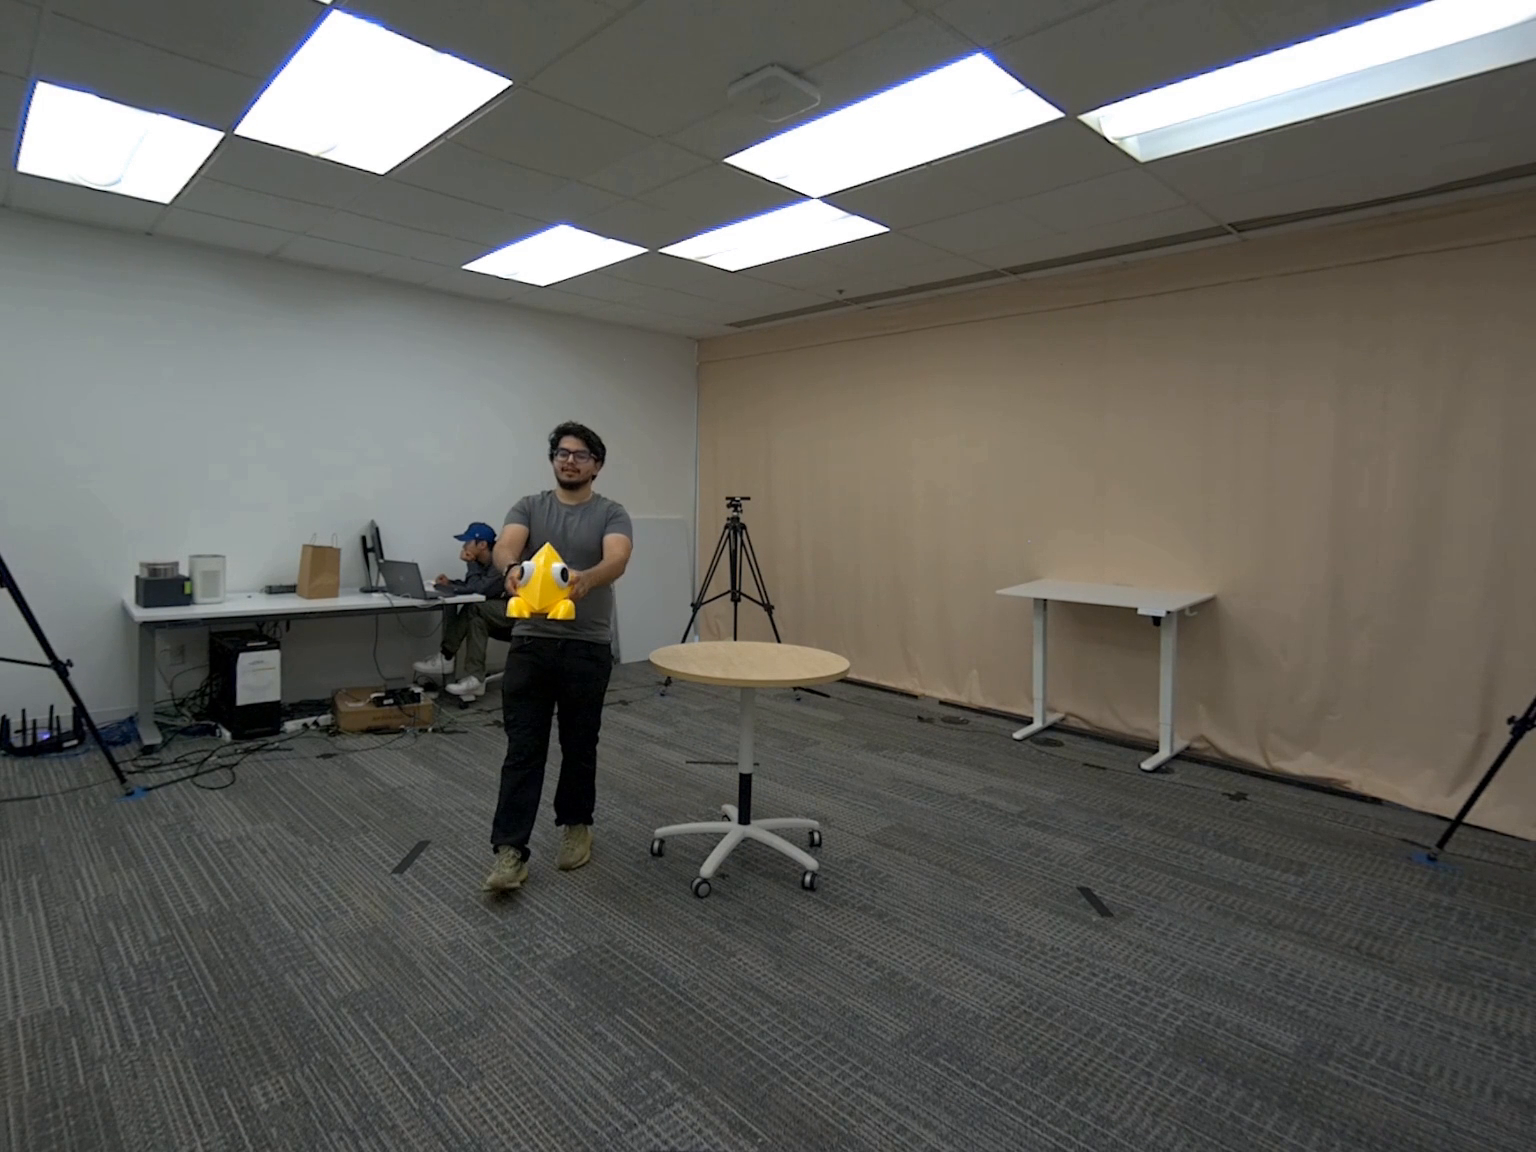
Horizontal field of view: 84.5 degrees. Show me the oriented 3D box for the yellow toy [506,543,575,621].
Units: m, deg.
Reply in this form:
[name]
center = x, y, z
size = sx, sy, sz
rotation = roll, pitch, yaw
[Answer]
[yellow toy]
center = -0.696, 0.010, 2.549
size = 0.204, 0.231, 0.194
rotation = 2, -2, -7
